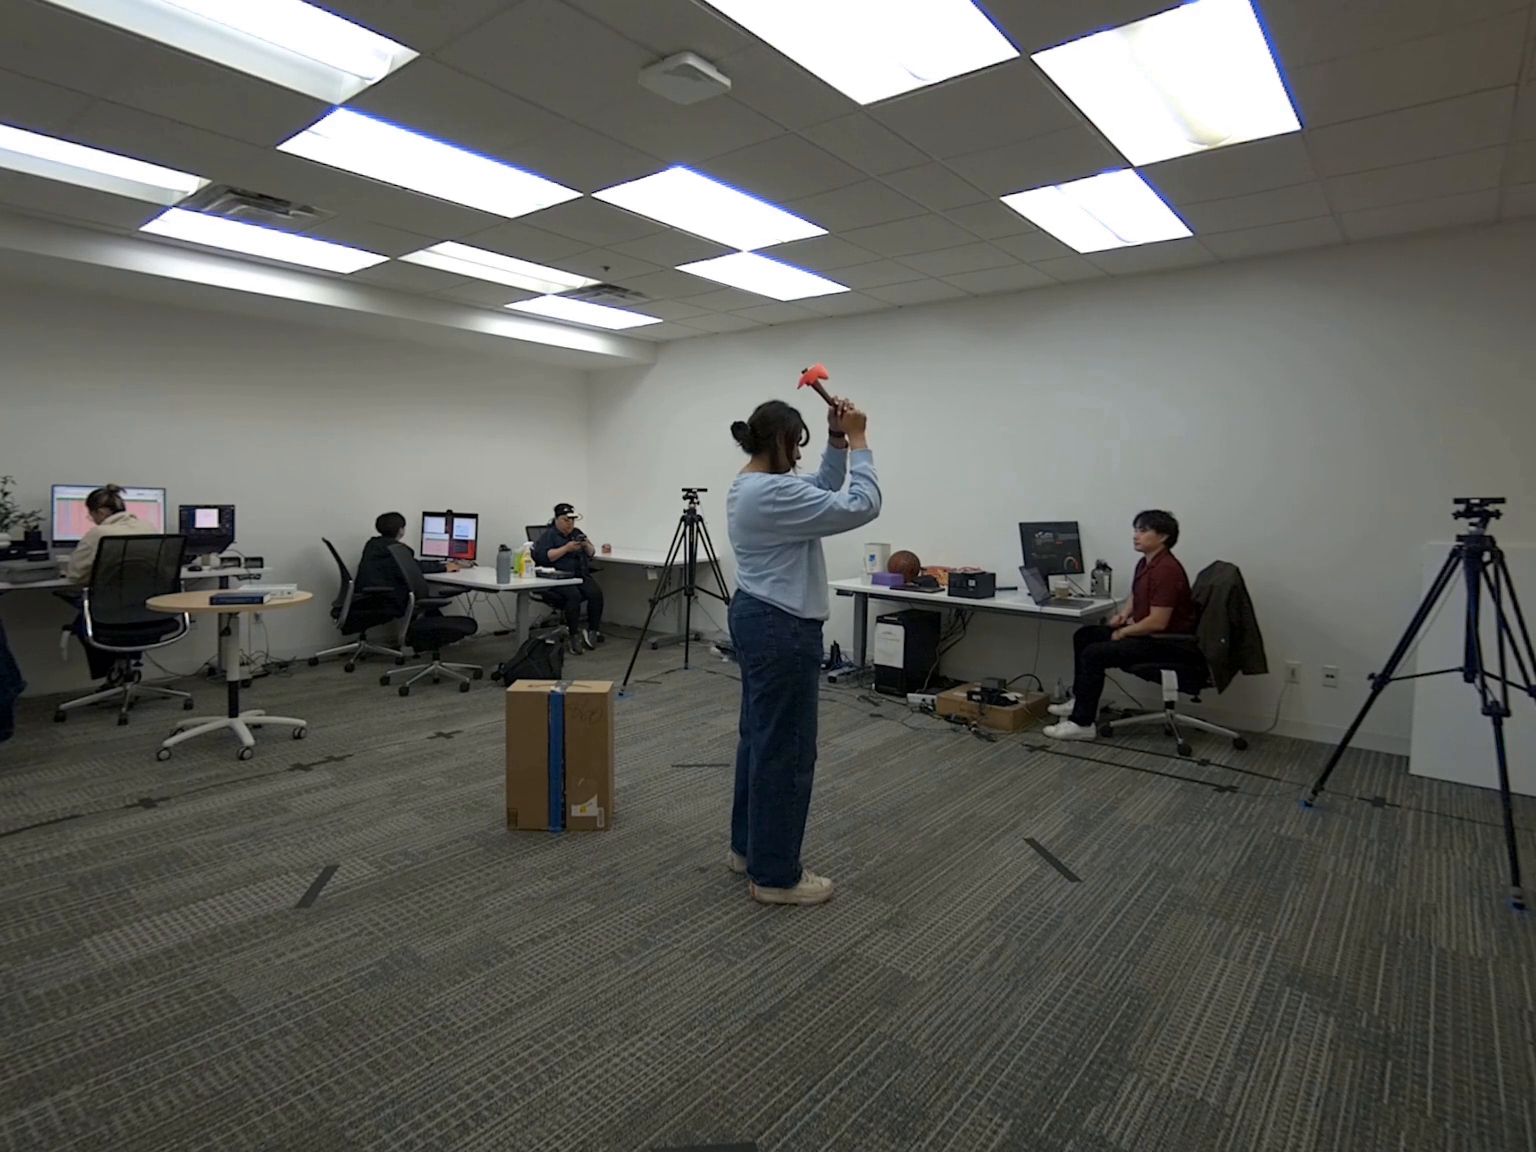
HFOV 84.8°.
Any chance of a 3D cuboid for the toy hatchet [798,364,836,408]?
[{"bbox_3d":[0.239,-0.611,2.862,0.264,0.132,0.030,30,-22,-17],"label":"toy hatchet"}]
